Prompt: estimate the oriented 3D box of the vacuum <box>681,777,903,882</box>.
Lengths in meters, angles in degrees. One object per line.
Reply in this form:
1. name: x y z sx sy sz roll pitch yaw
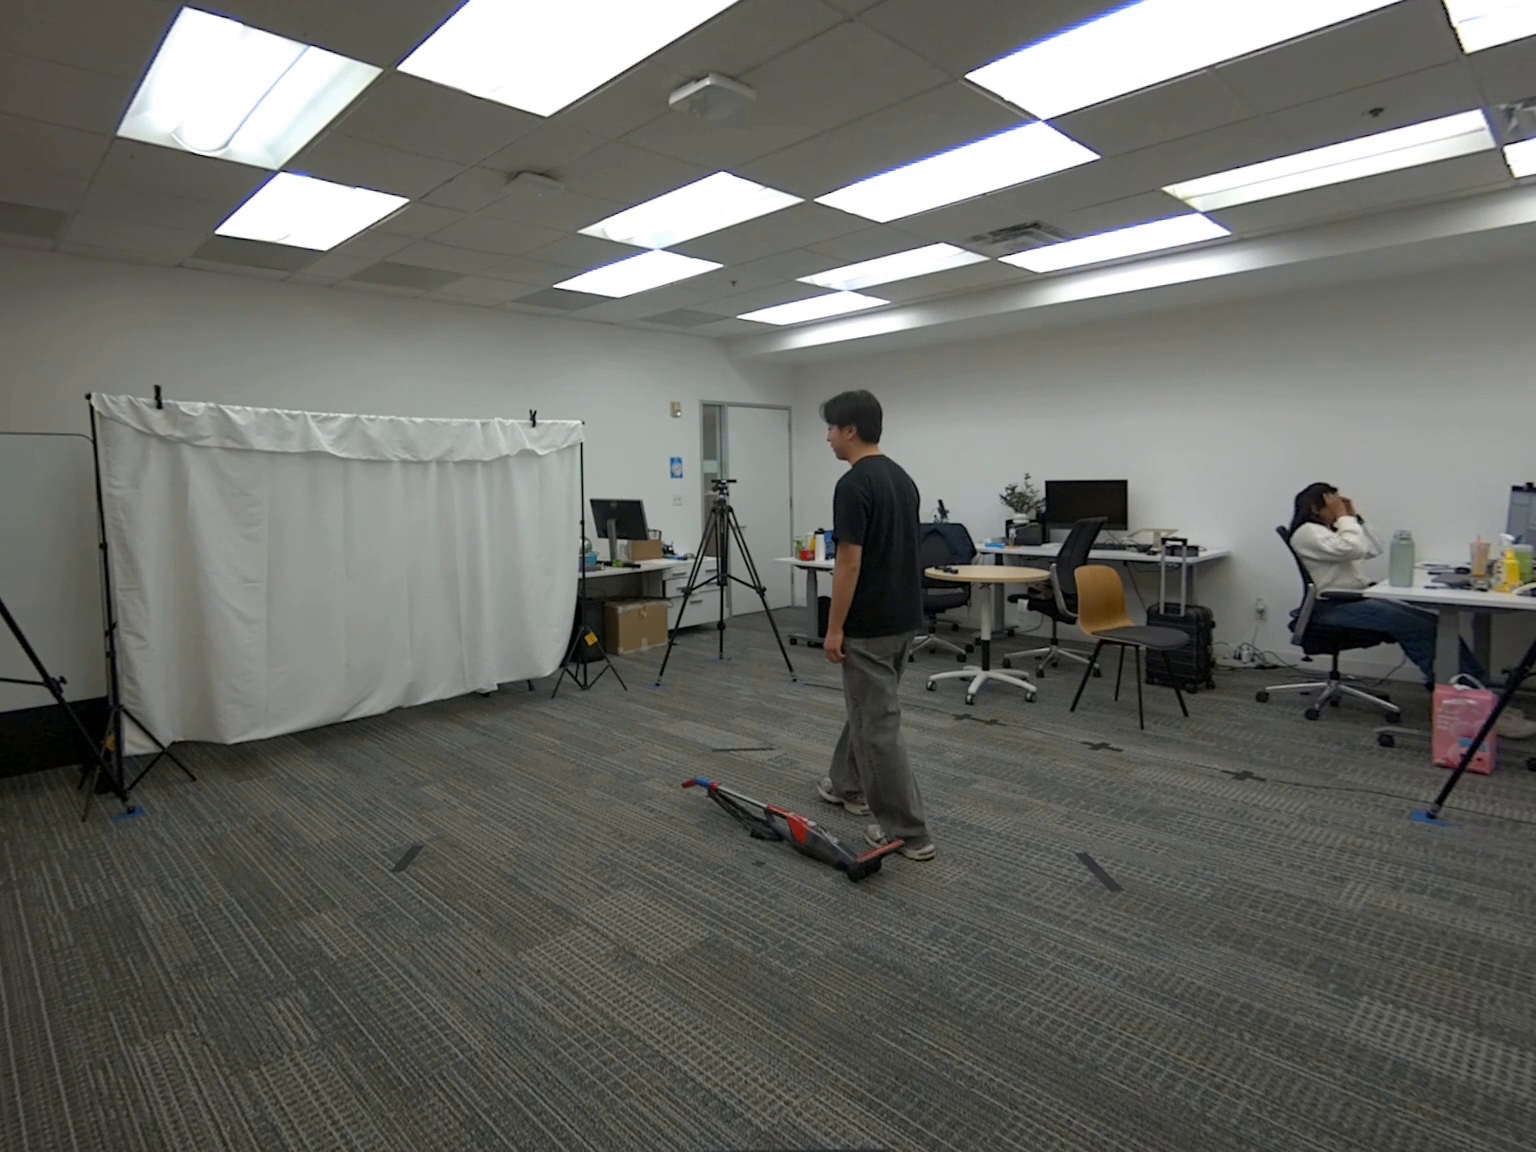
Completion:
1. vacuum: 0.007 0.960 3.352 0.245 0.143 1.082 -3 6 -42
